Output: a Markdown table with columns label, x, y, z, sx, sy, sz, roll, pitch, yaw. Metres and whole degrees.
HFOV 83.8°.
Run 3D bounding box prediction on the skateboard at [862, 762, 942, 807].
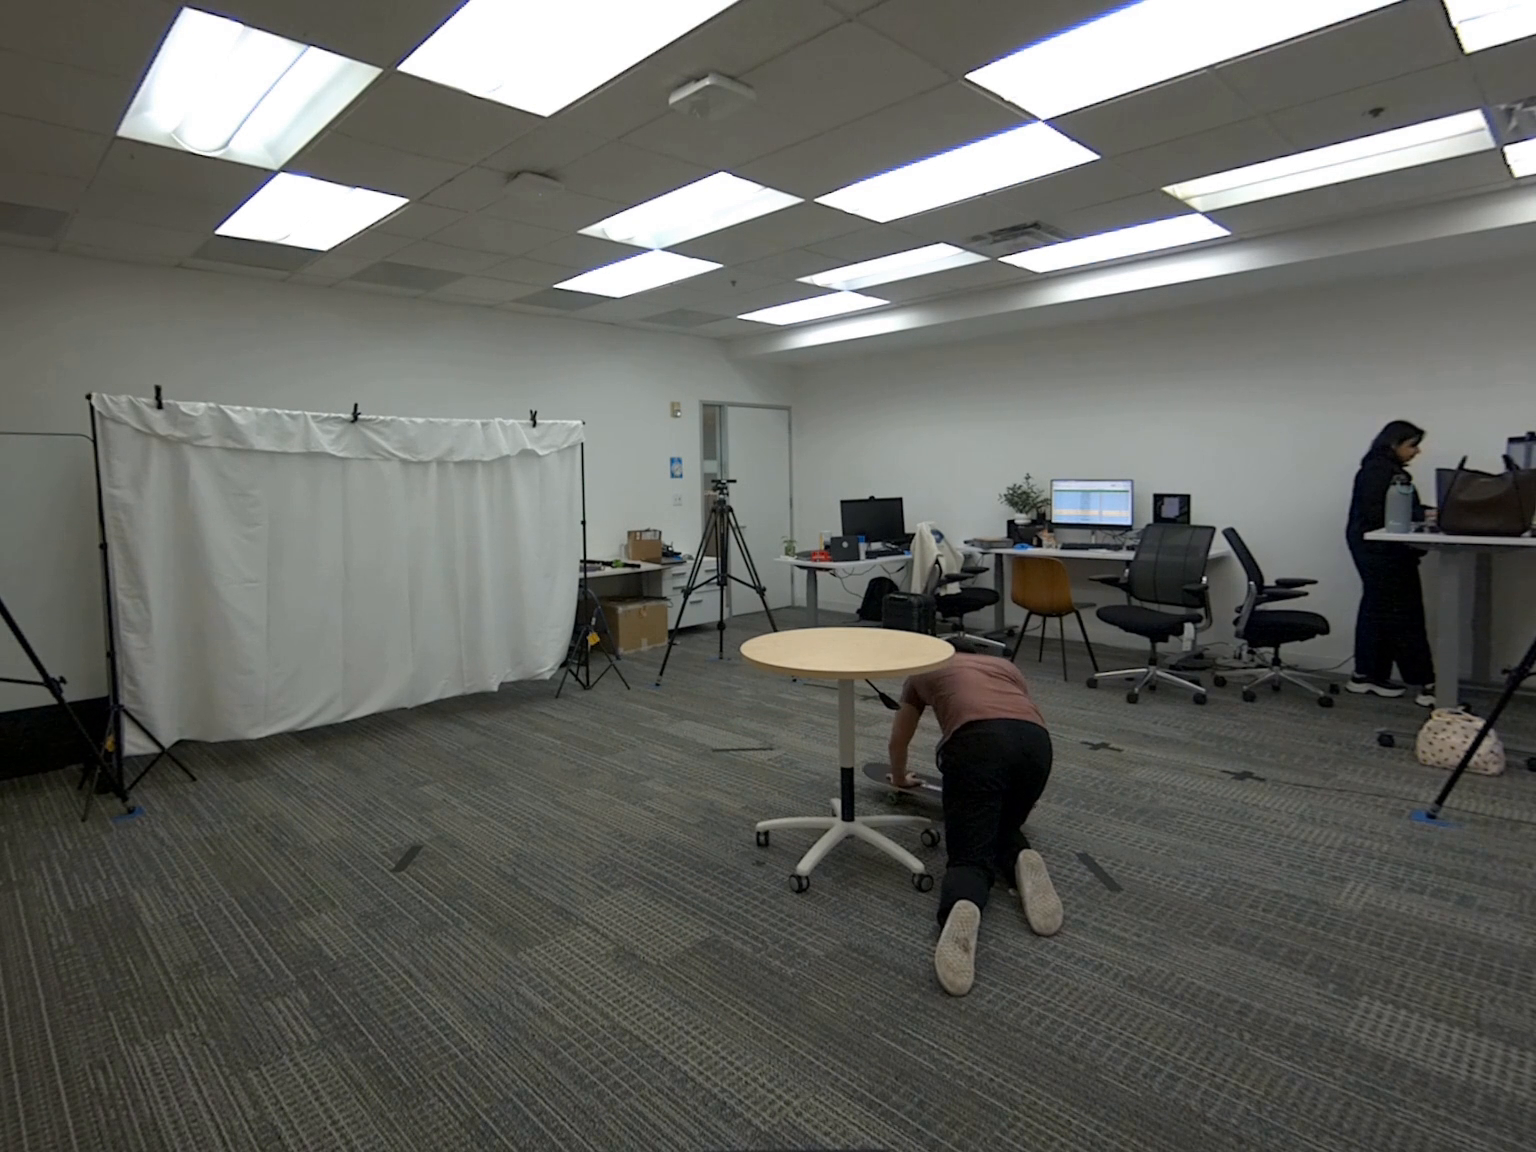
| label | x | y | z | sx | sy | sz | roll | pitch | yaw |
| --- | --- | --- | --- | --- | --- | --- | --- | --- | --- |
| skateboard | 0.735 | 0.928 | 3.574 | 0.810 | 0.110 | 0.188 | 5 | 9 | 45 |
